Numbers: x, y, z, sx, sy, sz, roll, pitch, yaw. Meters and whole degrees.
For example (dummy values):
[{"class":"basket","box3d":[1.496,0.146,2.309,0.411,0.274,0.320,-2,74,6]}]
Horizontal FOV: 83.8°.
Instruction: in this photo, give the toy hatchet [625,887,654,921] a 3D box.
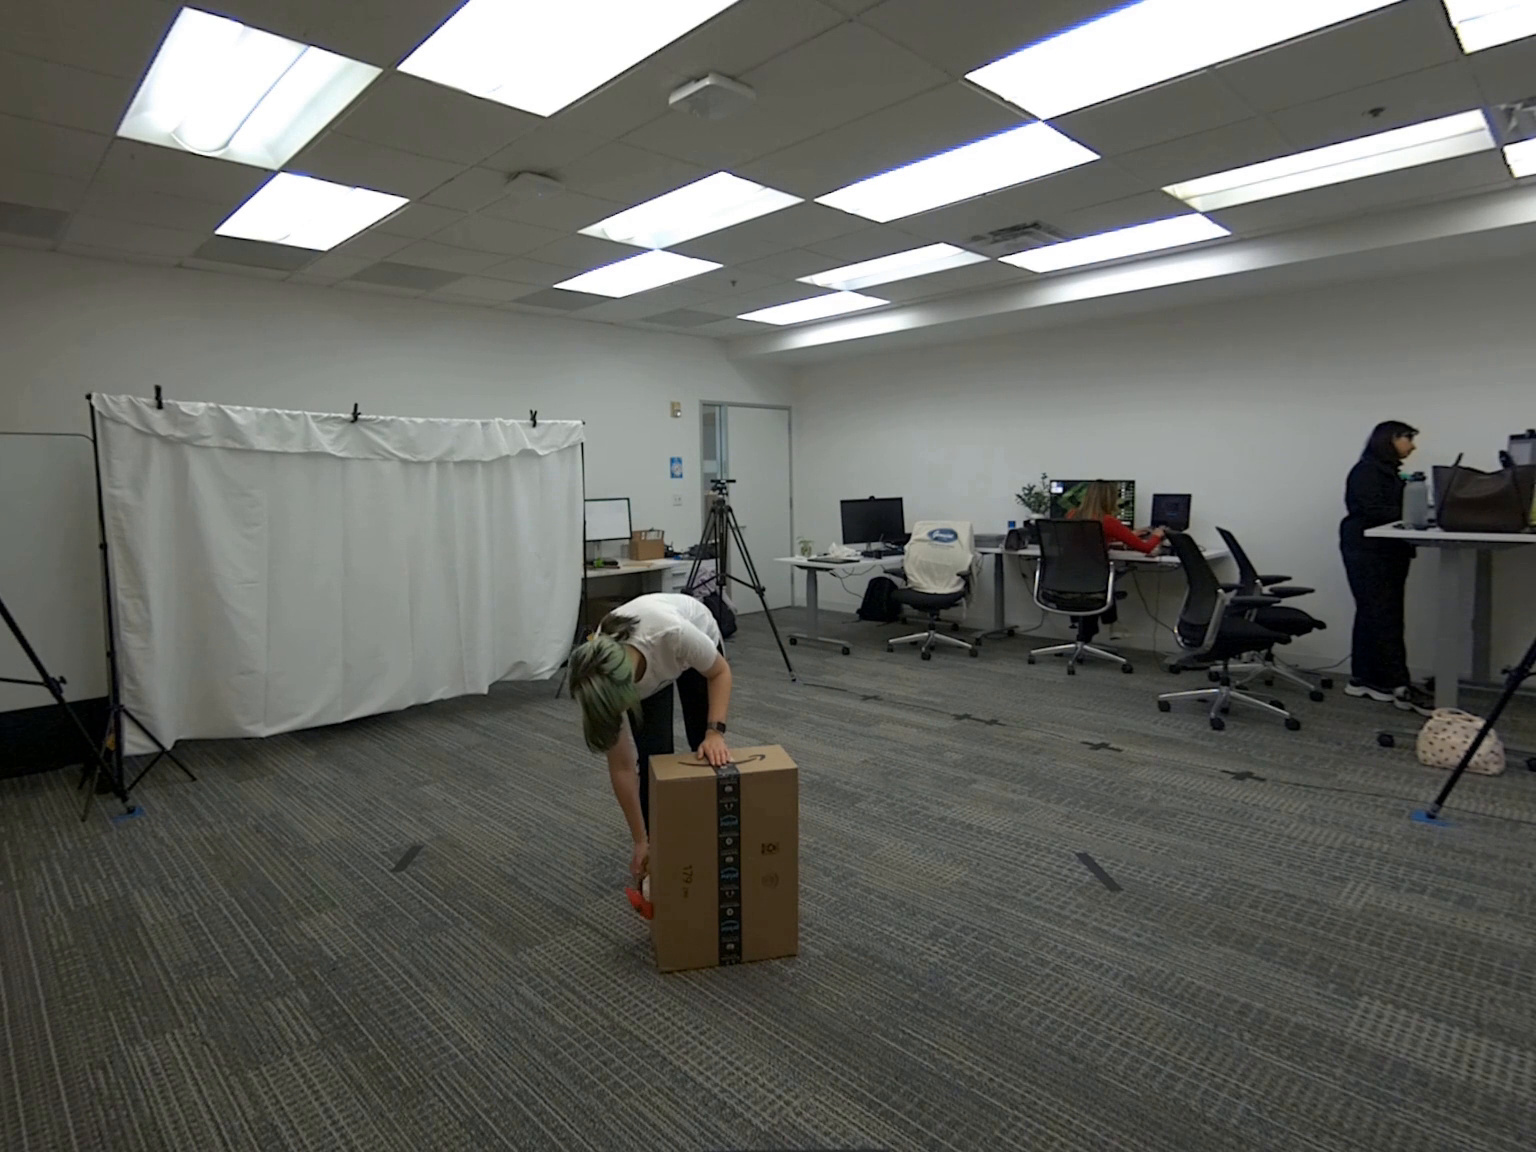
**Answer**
[{"class":"toy hatchet","box3d":[-0.369,0.954,2.608,0.029,0.132,0.268,-36,-2,6]}]
